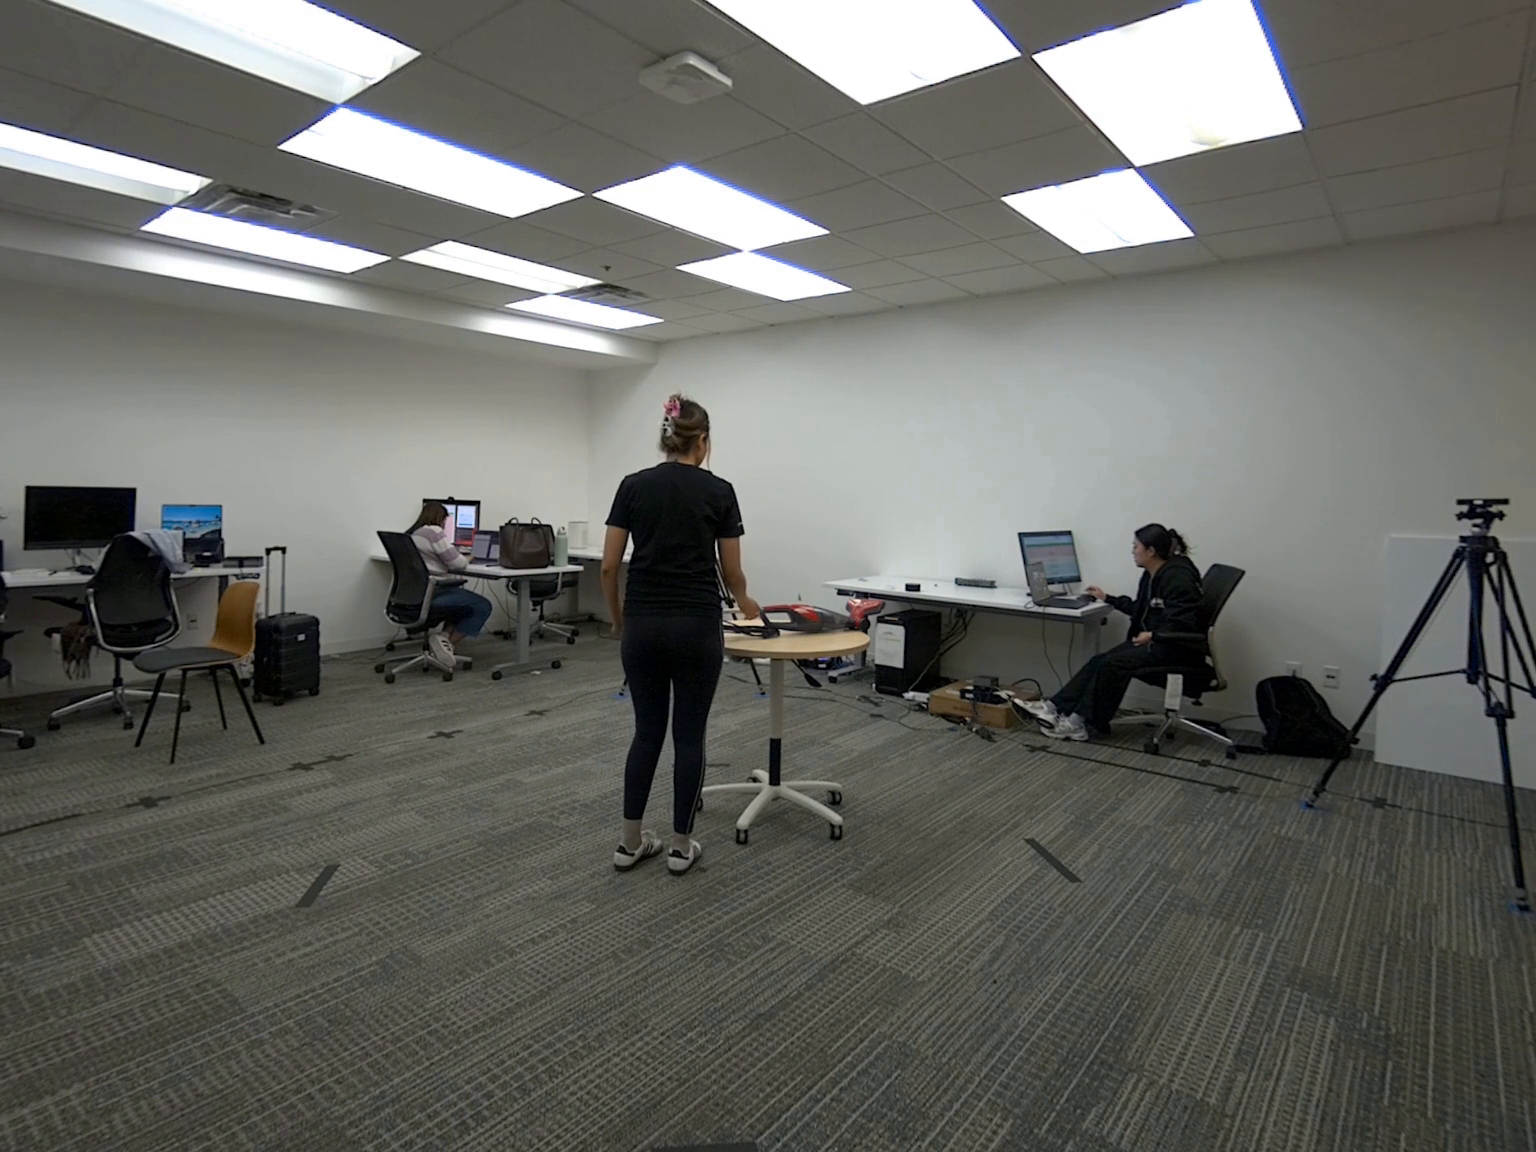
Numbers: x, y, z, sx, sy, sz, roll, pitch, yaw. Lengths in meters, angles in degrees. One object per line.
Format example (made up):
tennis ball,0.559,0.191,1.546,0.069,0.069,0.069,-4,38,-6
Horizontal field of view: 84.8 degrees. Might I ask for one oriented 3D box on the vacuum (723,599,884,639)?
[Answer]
vacuum,-0.030,0.202,3.539,1.024,0.144,0.259,-4,2,-27
